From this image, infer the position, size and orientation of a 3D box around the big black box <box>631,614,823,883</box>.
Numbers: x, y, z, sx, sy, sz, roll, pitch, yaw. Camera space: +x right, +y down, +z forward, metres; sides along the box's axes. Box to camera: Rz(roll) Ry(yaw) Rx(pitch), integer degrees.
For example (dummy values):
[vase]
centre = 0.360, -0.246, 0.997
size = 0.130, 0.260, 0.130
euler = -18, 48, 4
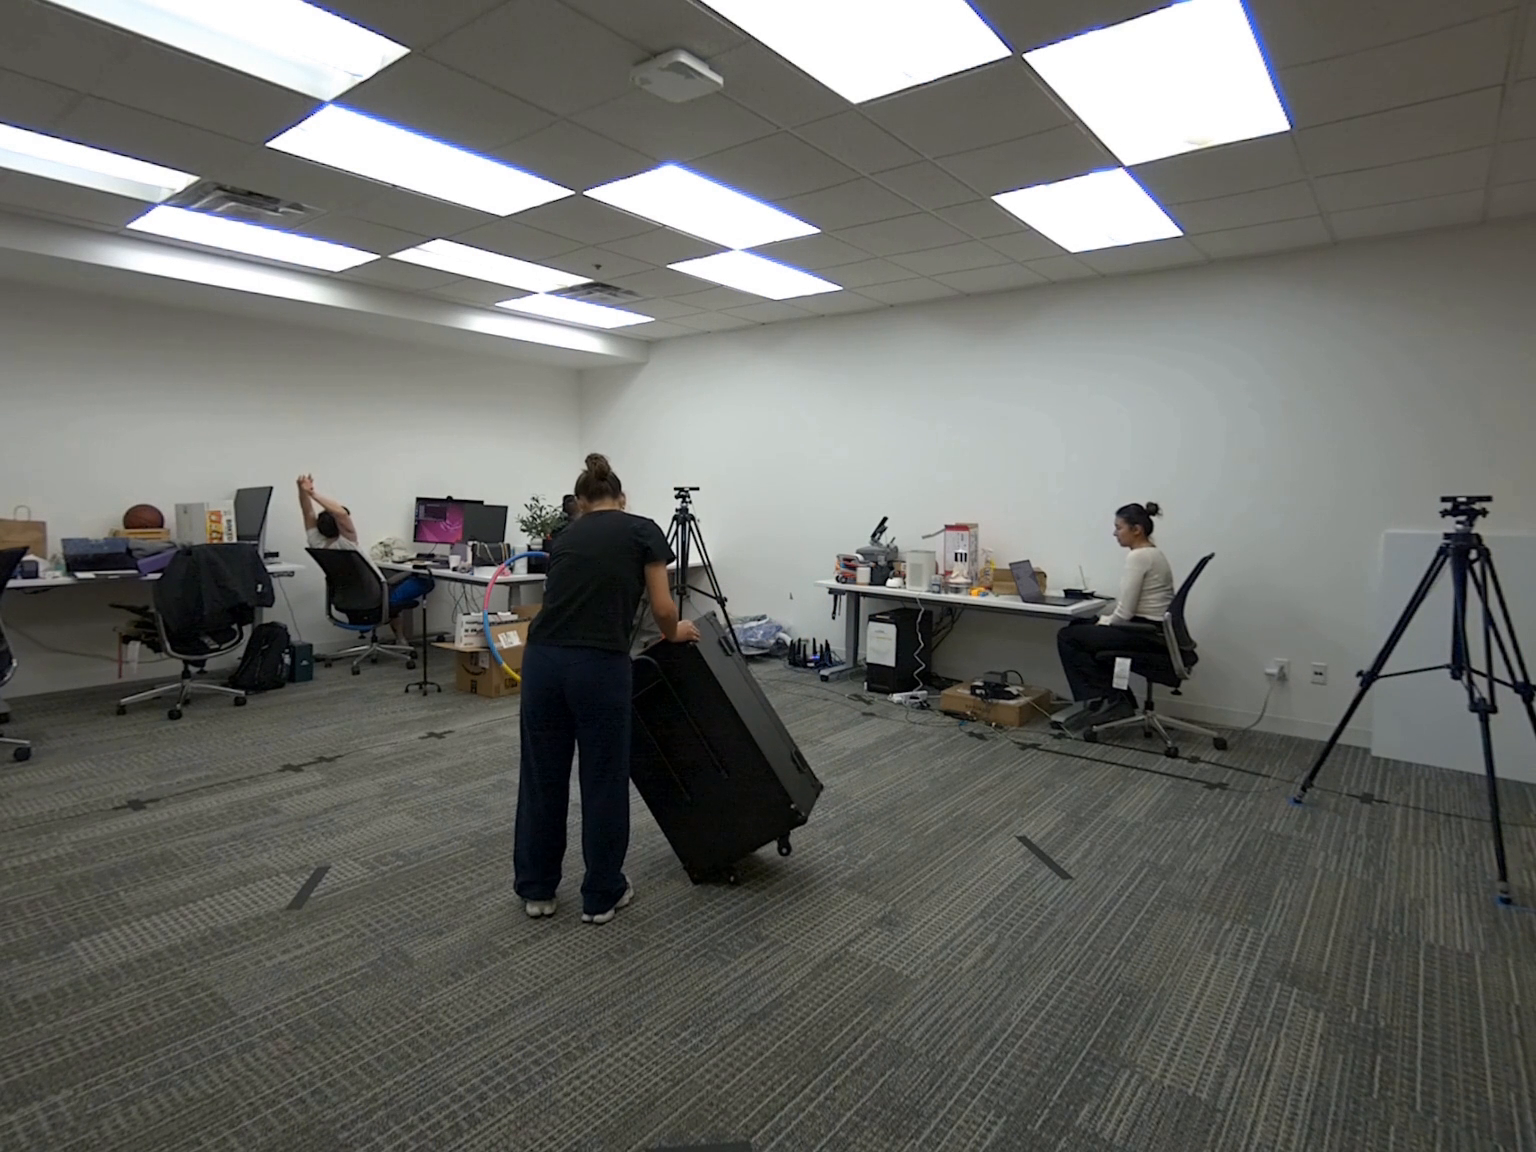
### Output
[big black box]
centre = -0.202, 0.631, 3.128
size = 0.524, 0.869, 0.391
euler = -34, -6, 16
